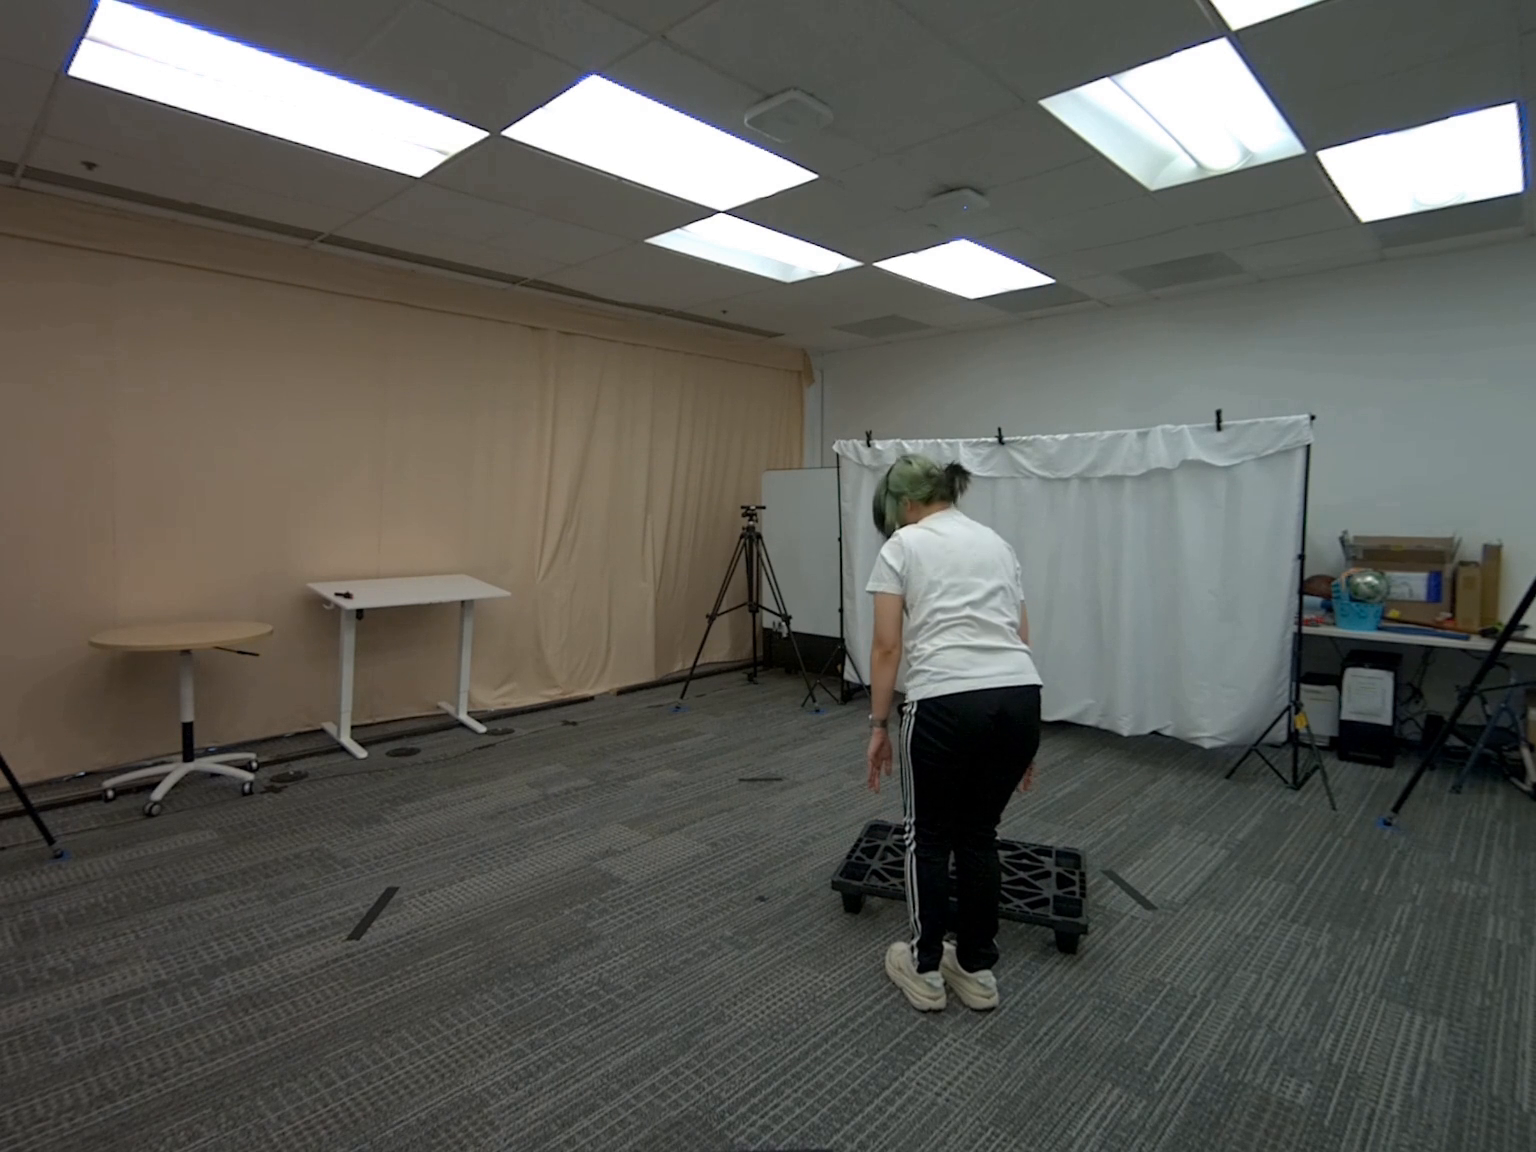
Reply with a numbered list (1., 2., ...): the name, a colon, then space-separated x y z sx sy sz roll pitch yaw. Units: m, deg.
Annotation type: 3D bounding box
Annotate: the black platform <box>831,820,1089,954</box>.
1. black platform: 0.688 1.074 2.946 0.824 0.143 0.593 1 5 21
